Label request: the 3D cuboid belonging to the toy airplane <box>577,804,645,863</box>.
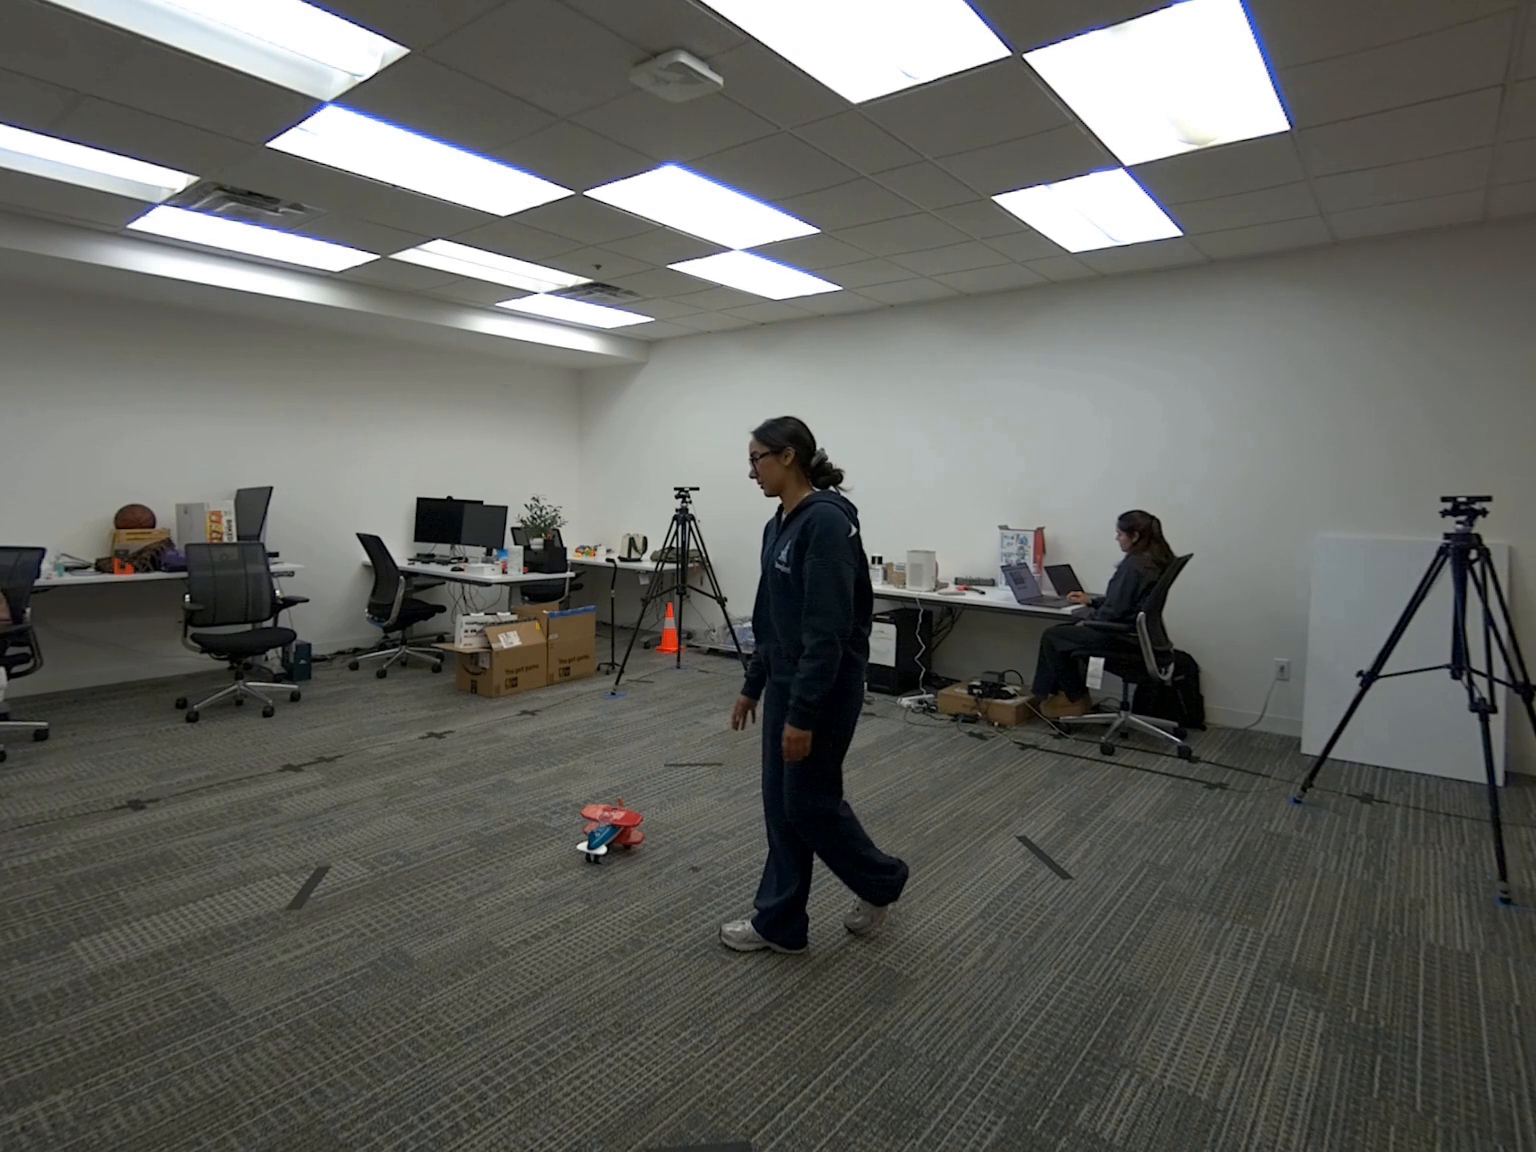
[{"bbox_3d":[-0.603,0.974,3.221,0.249,0.156,0.262,-1,5,-8],"label":"toy airplane"}]
